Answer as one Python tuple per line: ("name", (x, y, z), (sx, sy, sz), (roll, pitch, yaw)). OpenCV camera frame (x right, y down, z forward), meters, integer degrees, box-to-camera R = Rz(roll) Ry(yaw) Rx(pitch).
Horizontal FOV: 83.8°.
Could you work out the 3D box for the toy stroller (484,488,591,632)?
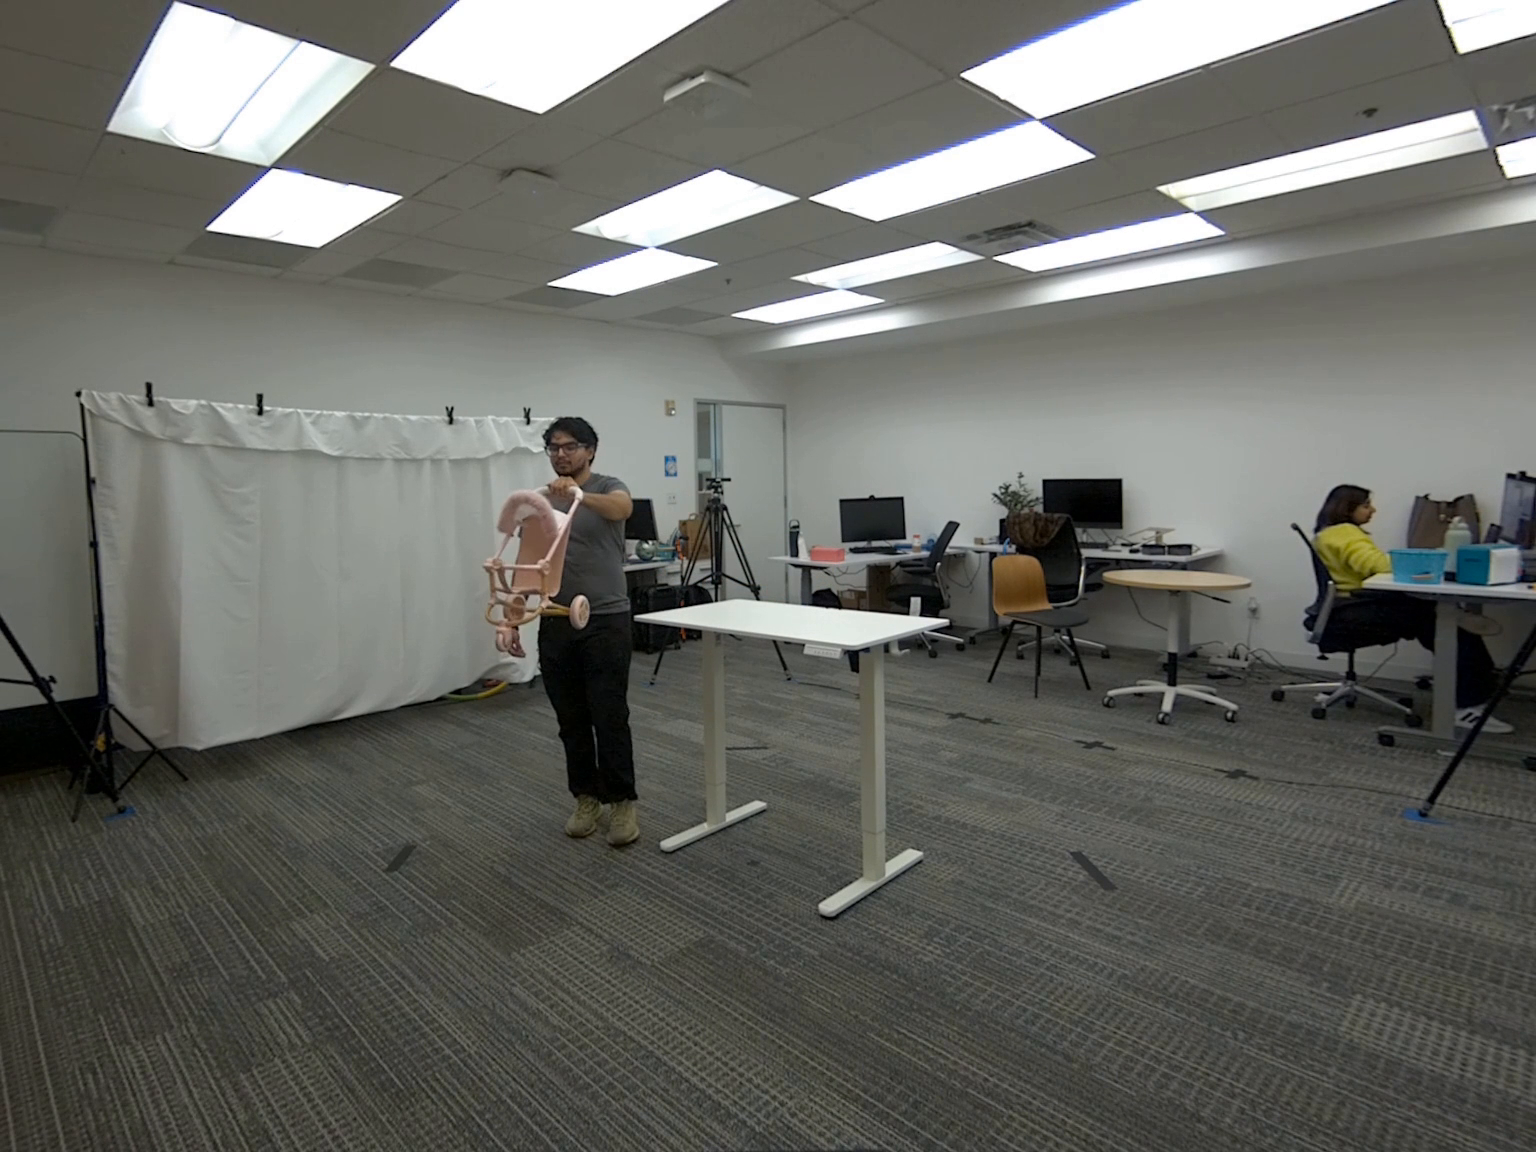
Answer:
("toy stroller", (-0.768, -0.034, 2.745), (0.287, 0.535, 0.334), (2, 0, 21))
